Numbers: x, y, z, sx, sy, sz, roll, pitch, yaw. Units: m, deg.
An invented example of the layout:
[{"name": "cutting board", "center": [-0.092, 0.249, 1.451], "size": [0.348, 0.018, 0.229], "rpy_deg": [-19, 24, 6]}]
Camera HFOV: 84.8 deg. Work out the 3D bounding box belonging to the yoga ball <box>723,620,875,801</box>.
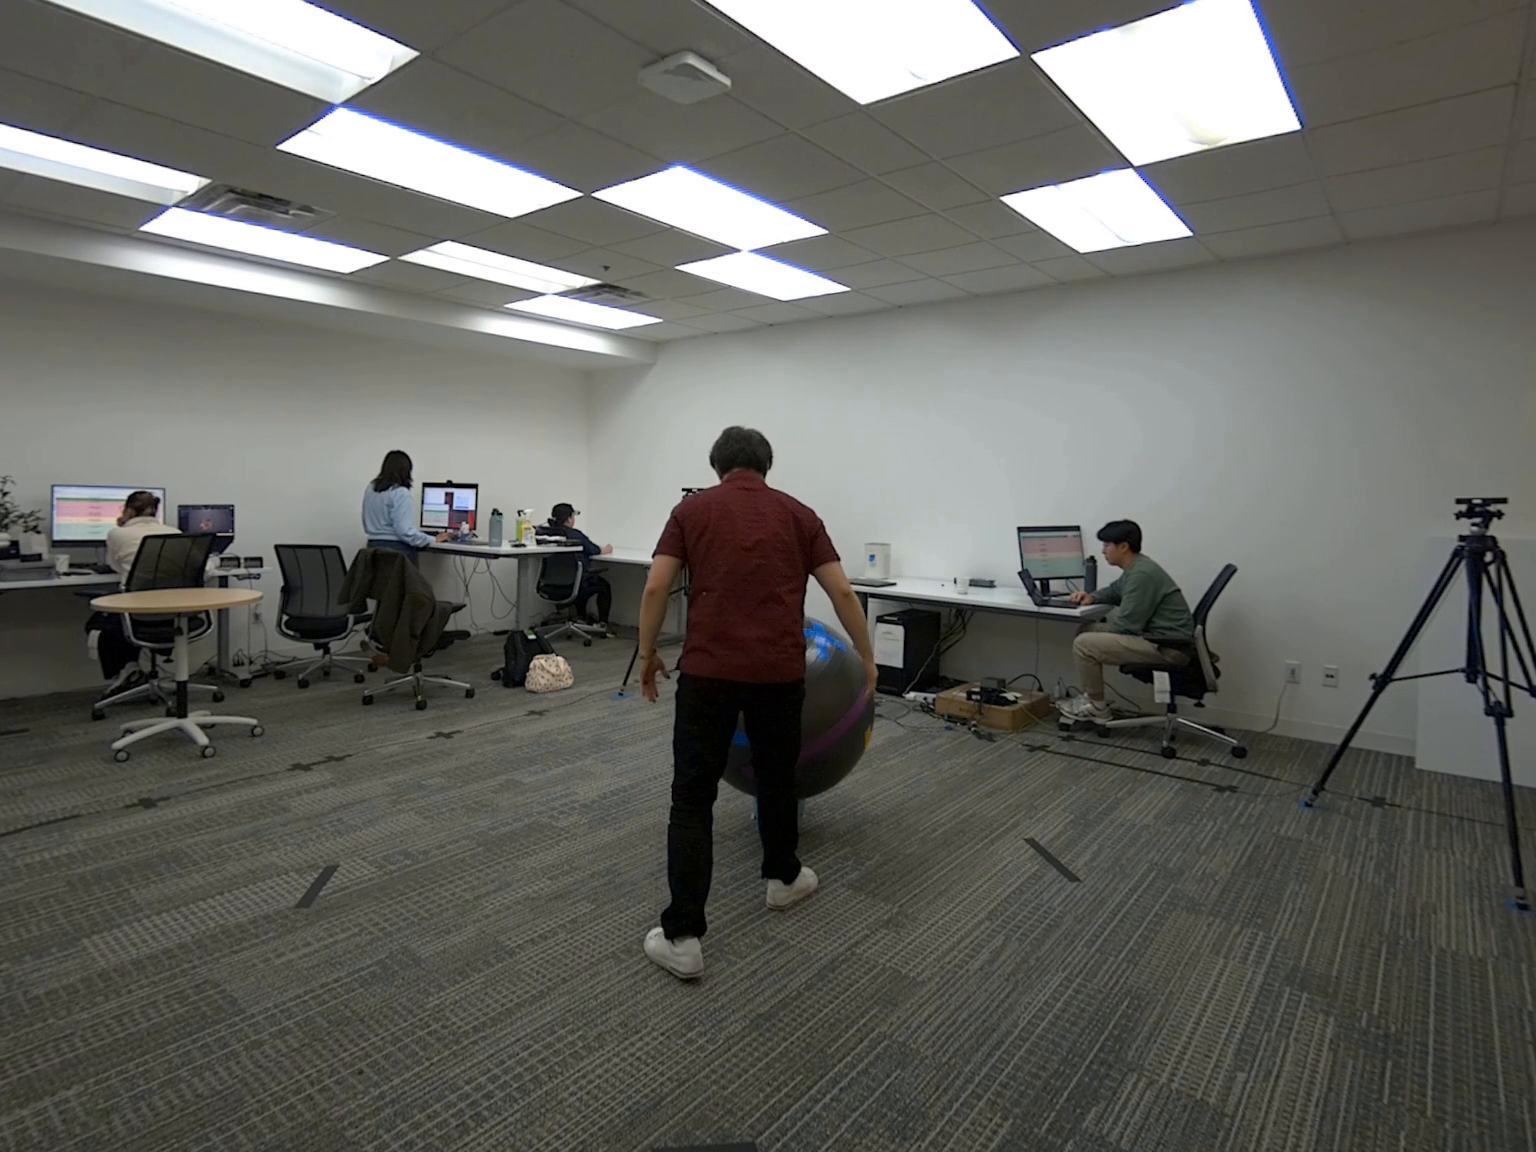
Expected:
[{"name": "yoga ball", "center": [0.052, 0.531, 3.484], "size": [0.757, 0.756, 0.762], "rpy_deg": [1, 4, -2]}]
